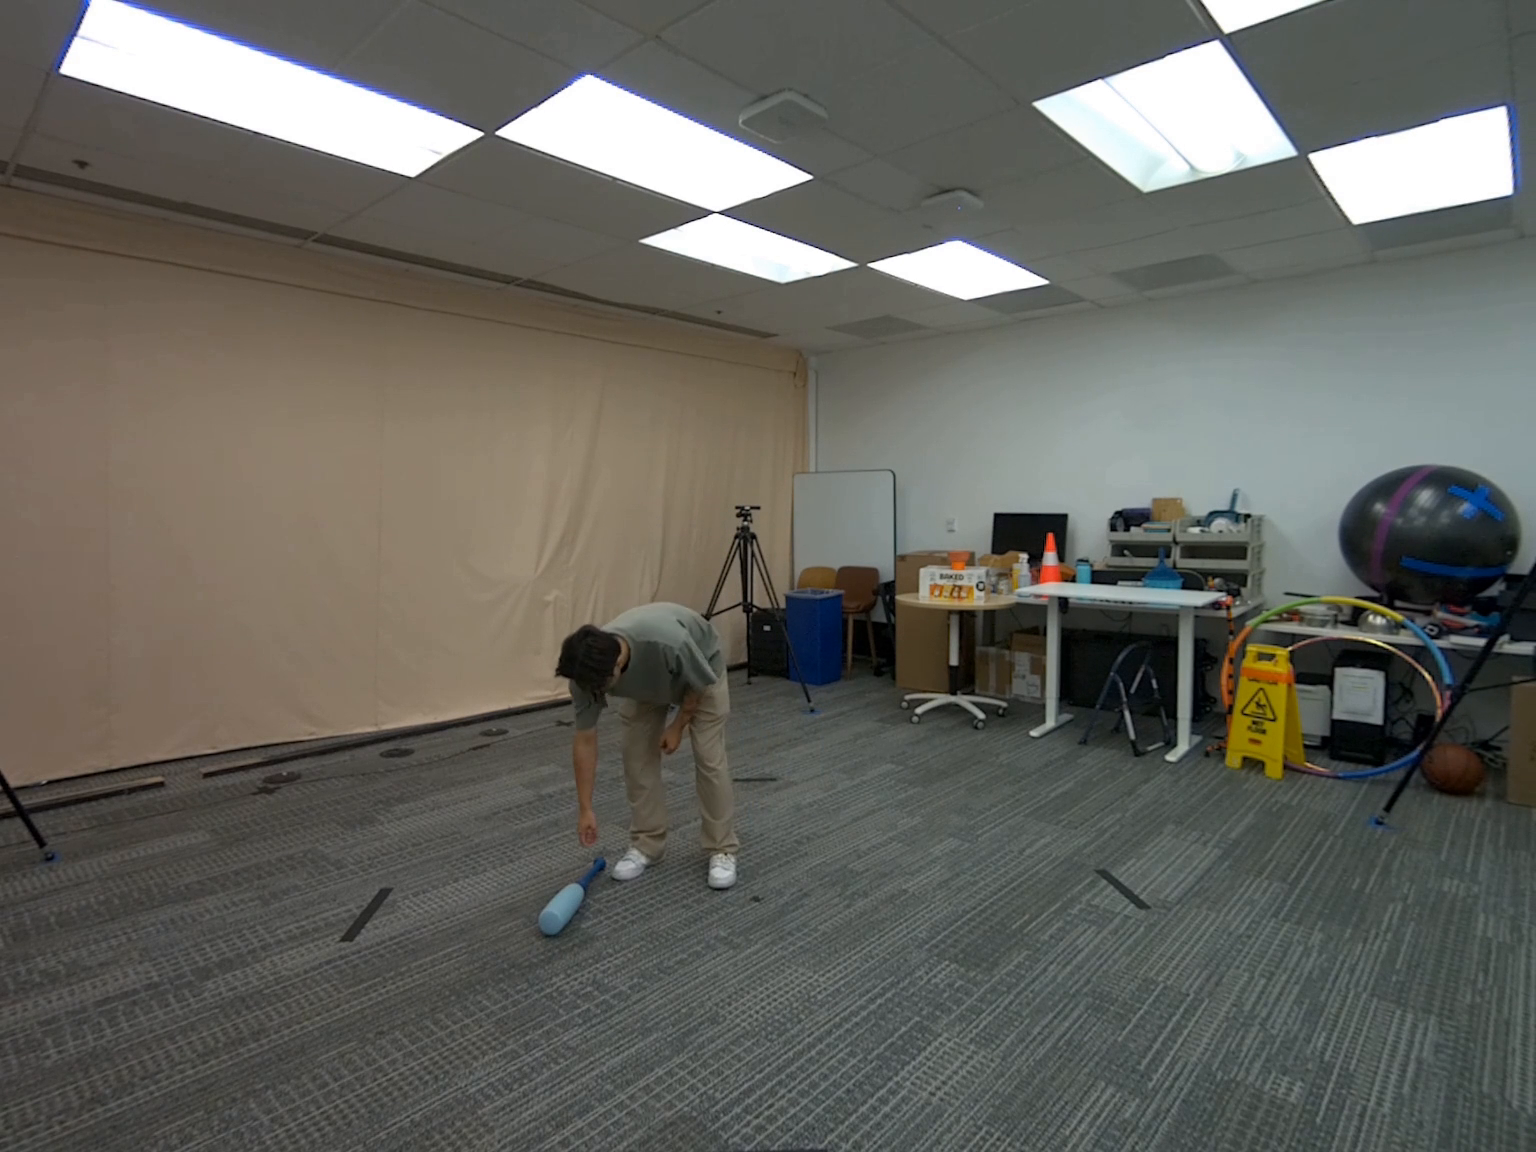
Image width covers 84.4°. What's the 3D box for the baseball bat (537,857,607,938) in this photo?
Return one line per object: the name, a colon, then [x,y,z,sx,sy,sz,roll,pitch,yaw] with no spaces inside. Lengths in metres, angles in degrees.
baseball bat: [-0.677,1.113,2.972,0.090,0.089,0.539,1,2,6]
